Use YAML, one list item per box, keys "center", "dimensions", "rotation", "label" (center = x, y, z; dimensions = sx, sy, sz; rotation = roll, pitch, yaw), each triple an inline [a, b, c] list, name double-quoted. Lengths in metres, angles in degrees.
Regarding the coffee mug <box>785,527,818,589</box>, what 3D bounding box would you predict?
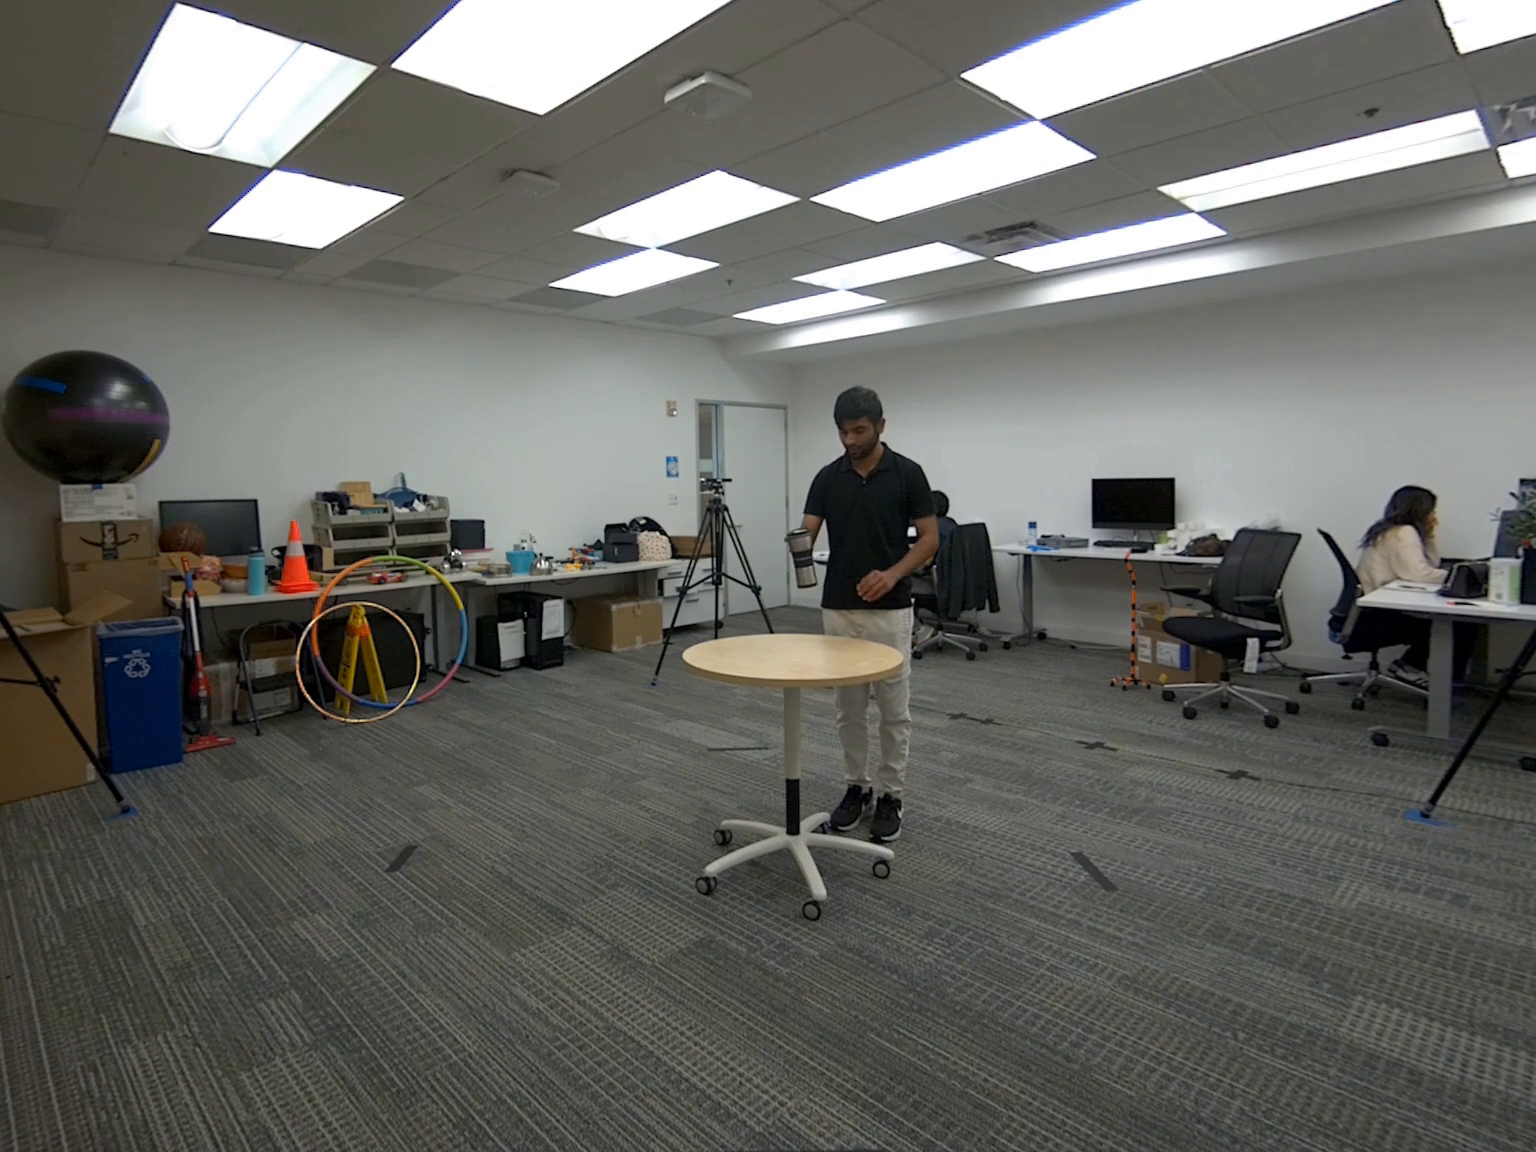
- center: [0.141, -0.065, 3.026]
  dimensions: [0.119, 0.202, 0.090]
  rotation: [-16, 6, -41]
  label: "coffee mug"
